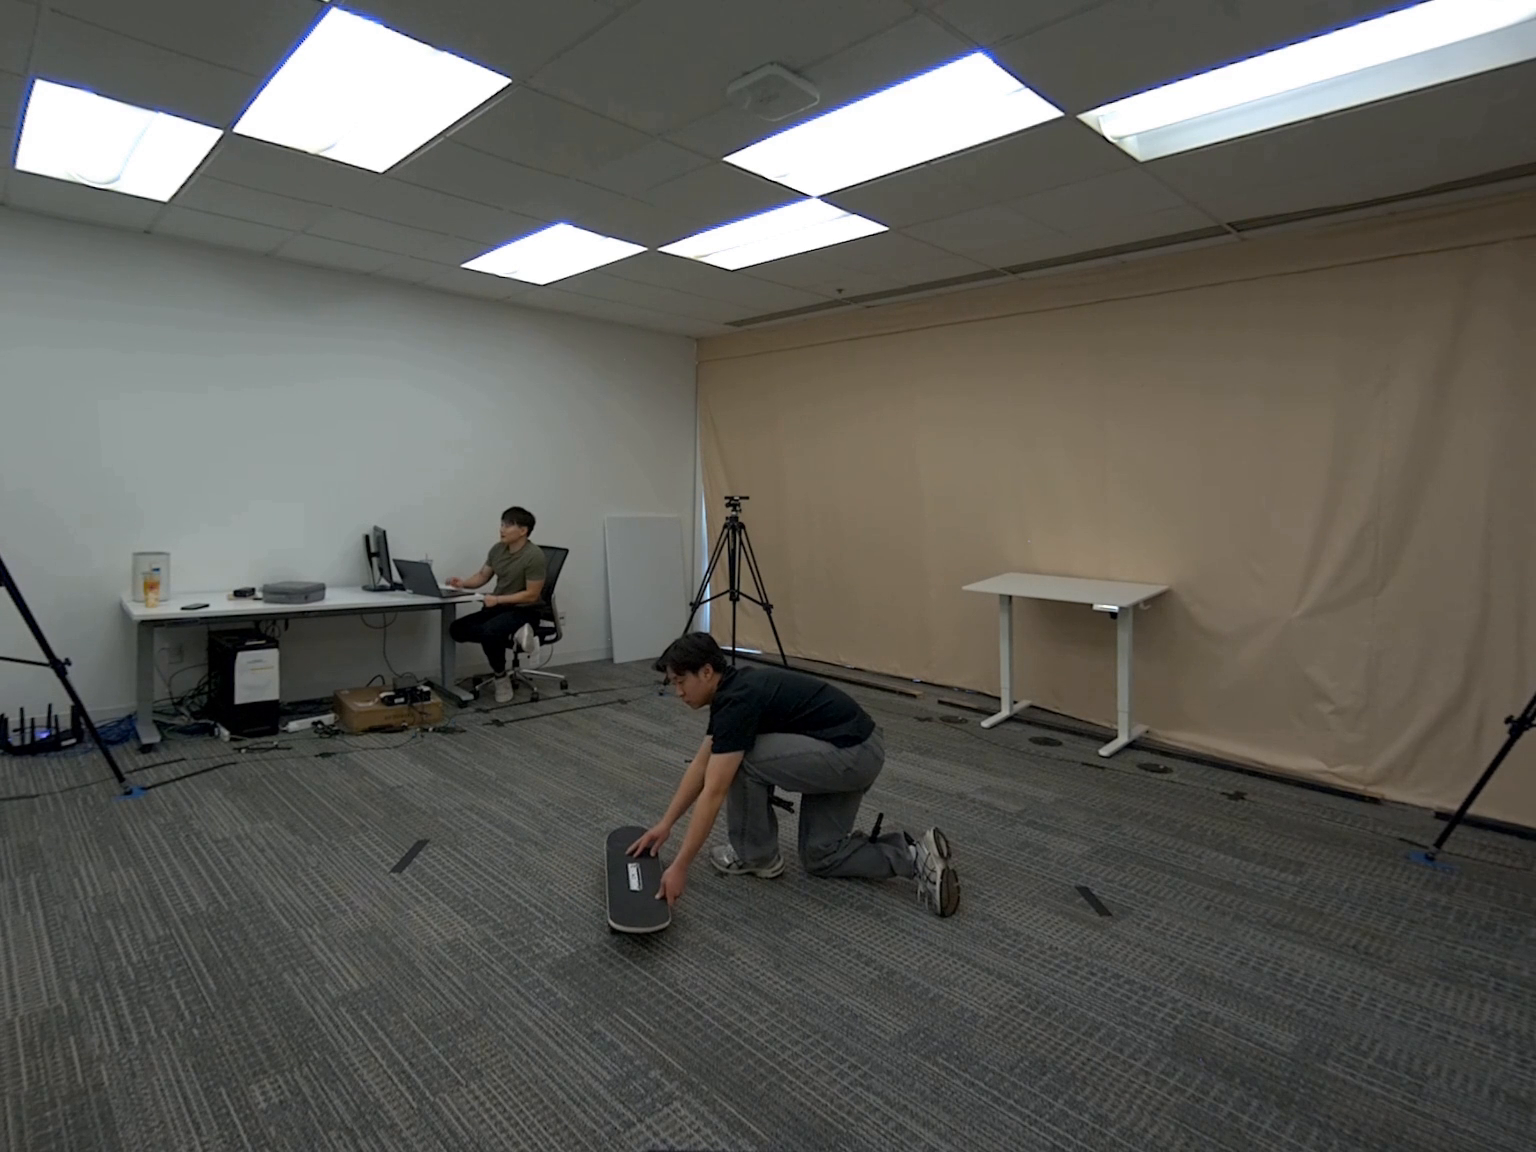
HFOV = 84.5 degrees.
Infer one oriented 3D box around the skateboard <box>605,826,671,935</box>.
[{"bbox_3d":[-0.457,1.055,2.884,0.192,0.110,0.794,1,5,-12],"label":"skateboard"}]
